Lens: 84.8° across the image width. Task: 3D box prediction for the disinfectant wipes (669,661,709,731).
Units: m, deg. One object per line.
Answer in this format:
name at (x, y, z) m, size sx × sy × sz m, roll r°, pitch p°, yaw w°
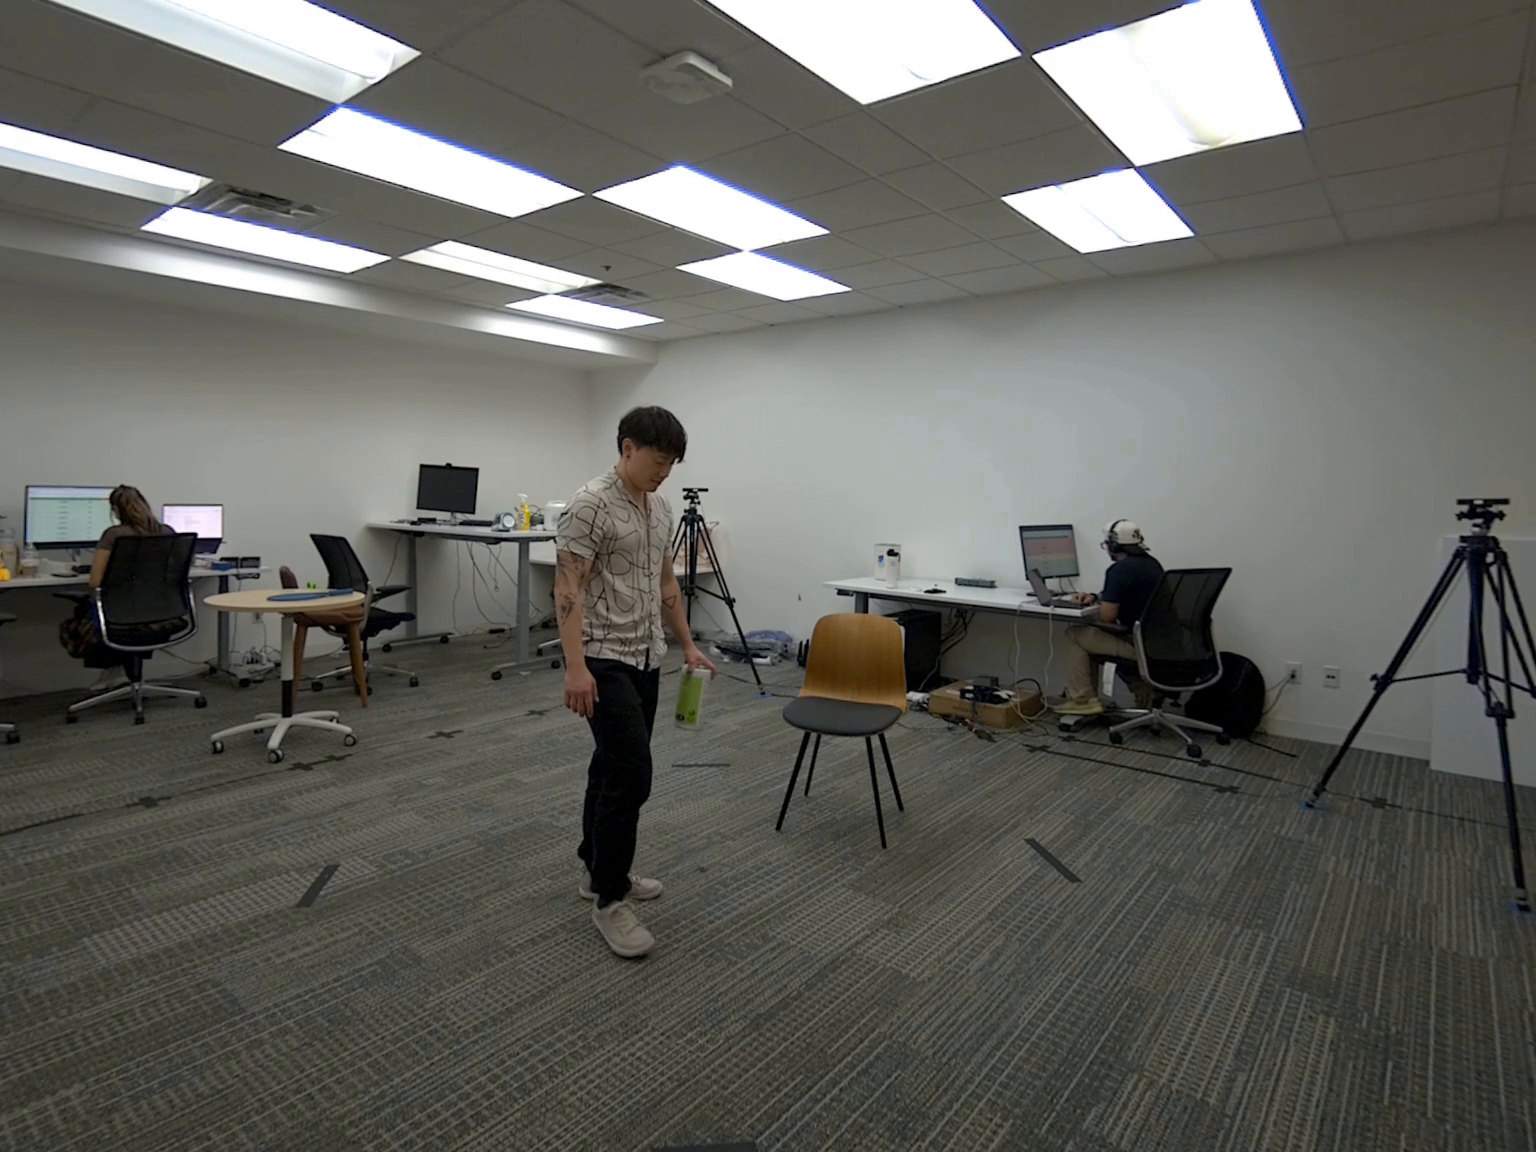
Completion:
disinfectant wipes at (-0.281, 0.424, 2.999) m, size 0.118 × 0.218 × 0.117 m, roll 5°, pitch -4°, yaw -2°
